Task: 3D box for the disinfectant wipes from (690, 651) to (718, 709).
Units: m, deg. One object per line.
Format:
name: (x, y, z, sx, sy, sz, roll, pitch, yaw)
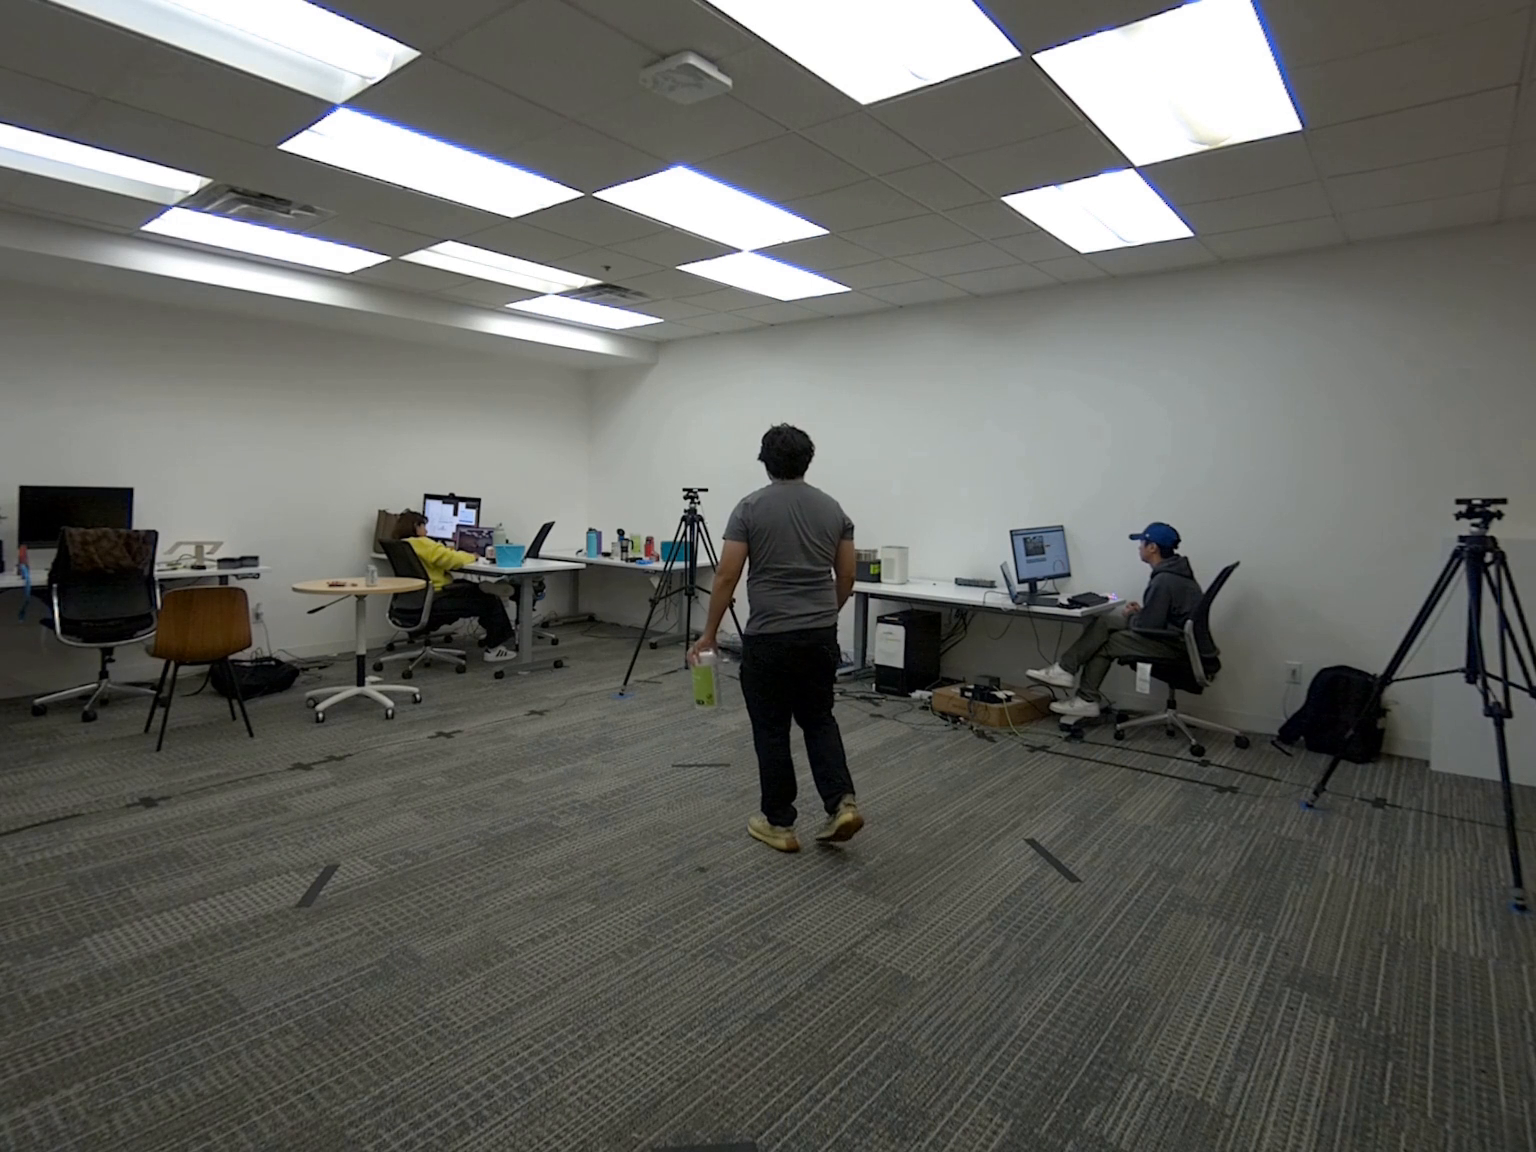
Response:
disinfectant wipes: (-0.252, 0.419, 3.395, 0.118, 0.215, 0.119, -7, 9, -1)
